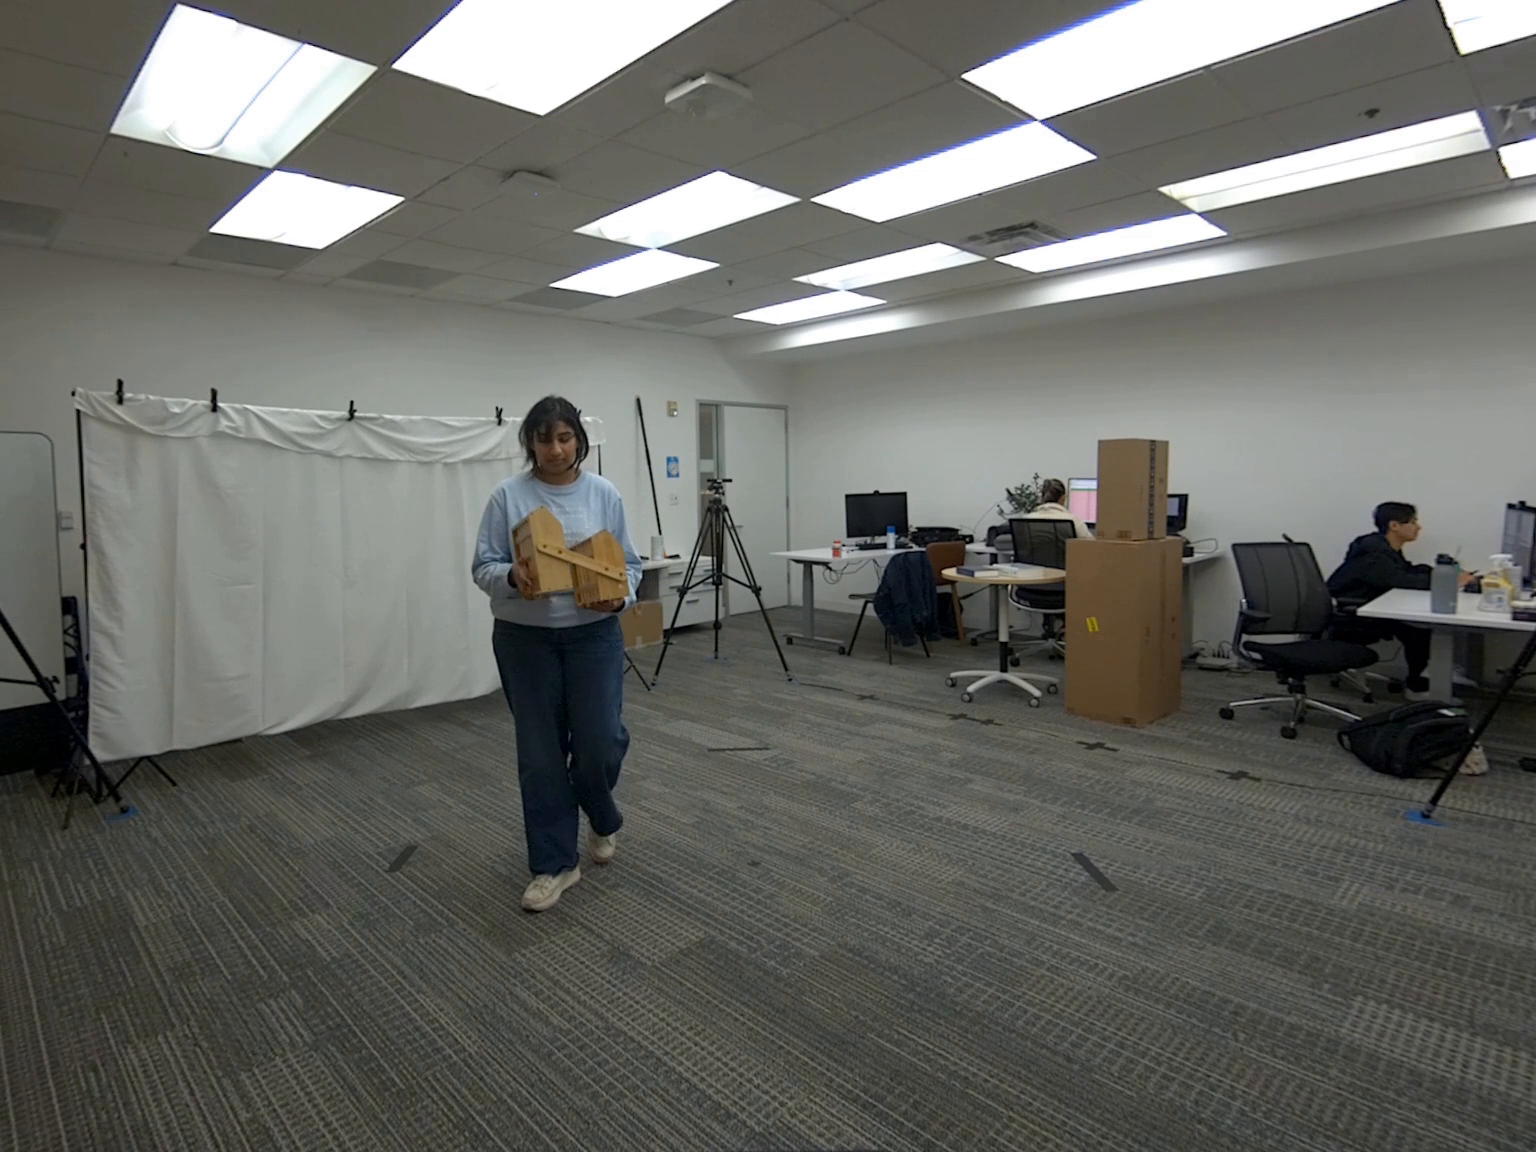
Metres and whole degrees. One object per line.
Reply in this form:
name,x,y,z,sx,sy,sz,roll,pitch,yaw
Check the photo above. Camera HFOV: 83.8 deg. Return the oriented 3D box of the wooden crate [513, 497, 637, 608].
wooden crate,-0.606,-0.054,2.629,0.268,0.303,0.329,-8,-3,-26
